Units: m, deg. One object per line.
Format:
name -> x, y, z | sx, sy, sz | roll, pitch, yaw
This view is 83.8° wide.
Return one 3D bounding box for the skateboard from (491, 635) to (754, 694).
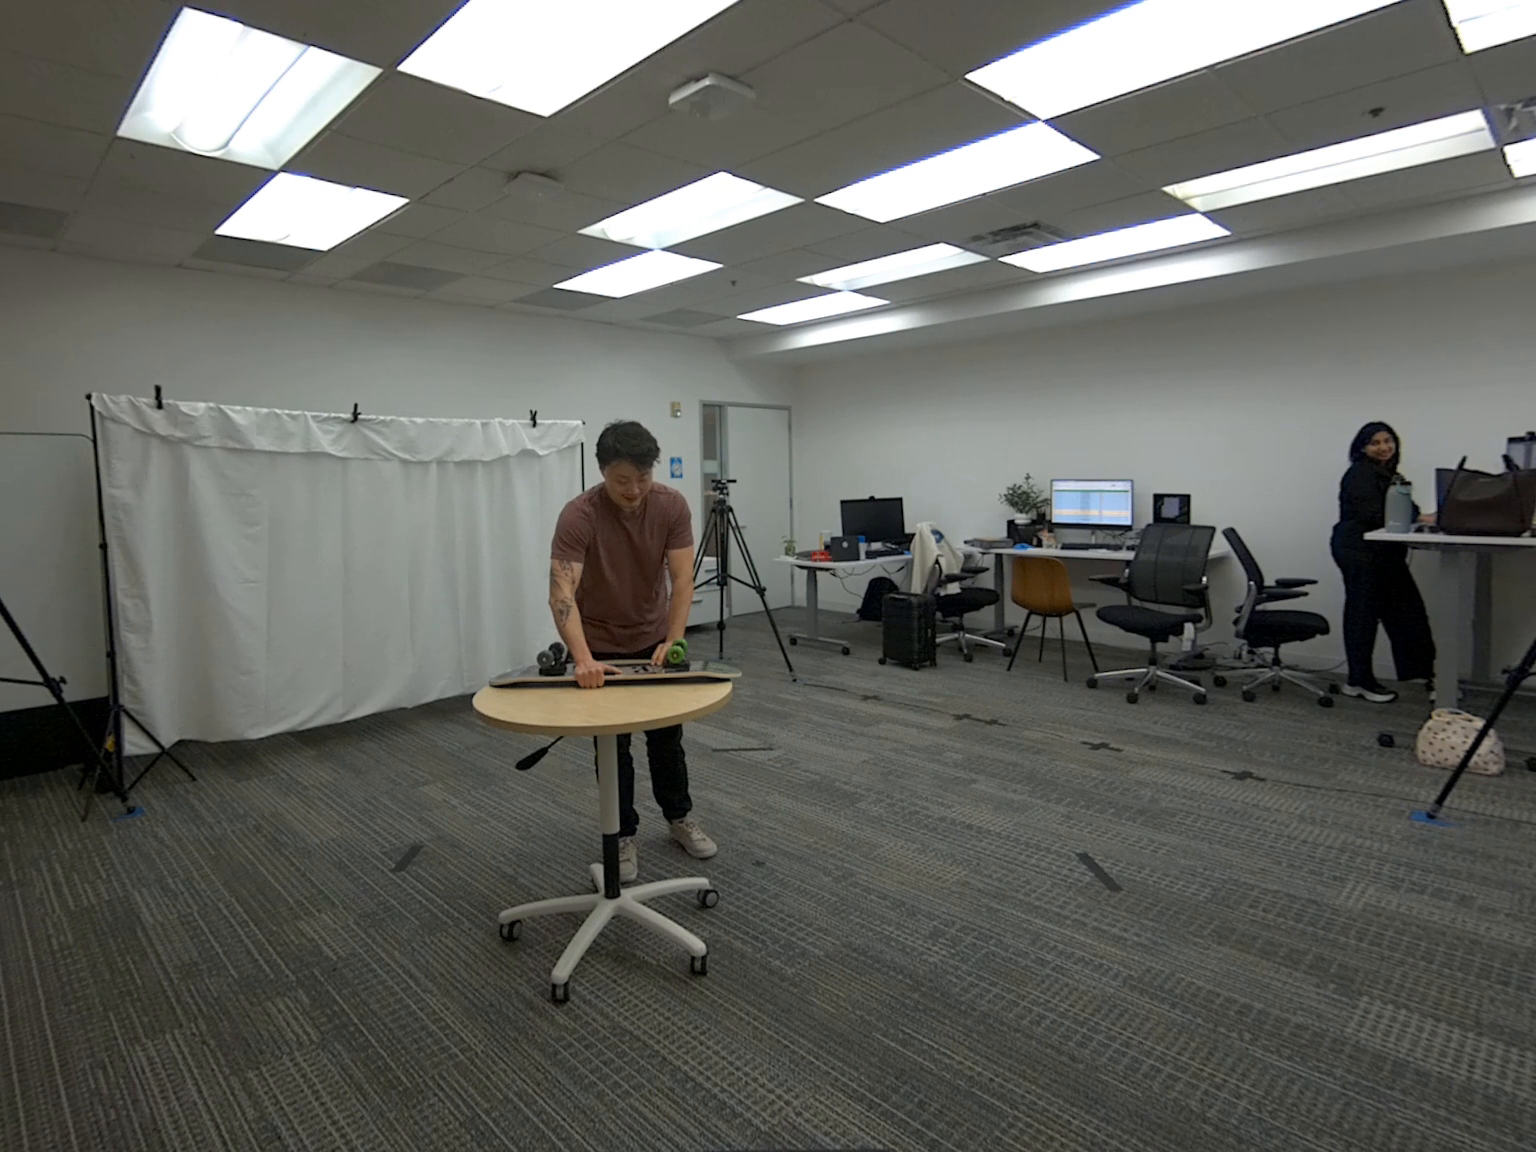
skateboard -> -0.444, 0.272, 2.679 | 0.786, 0.110, 0.194 | -2, 6, 0
